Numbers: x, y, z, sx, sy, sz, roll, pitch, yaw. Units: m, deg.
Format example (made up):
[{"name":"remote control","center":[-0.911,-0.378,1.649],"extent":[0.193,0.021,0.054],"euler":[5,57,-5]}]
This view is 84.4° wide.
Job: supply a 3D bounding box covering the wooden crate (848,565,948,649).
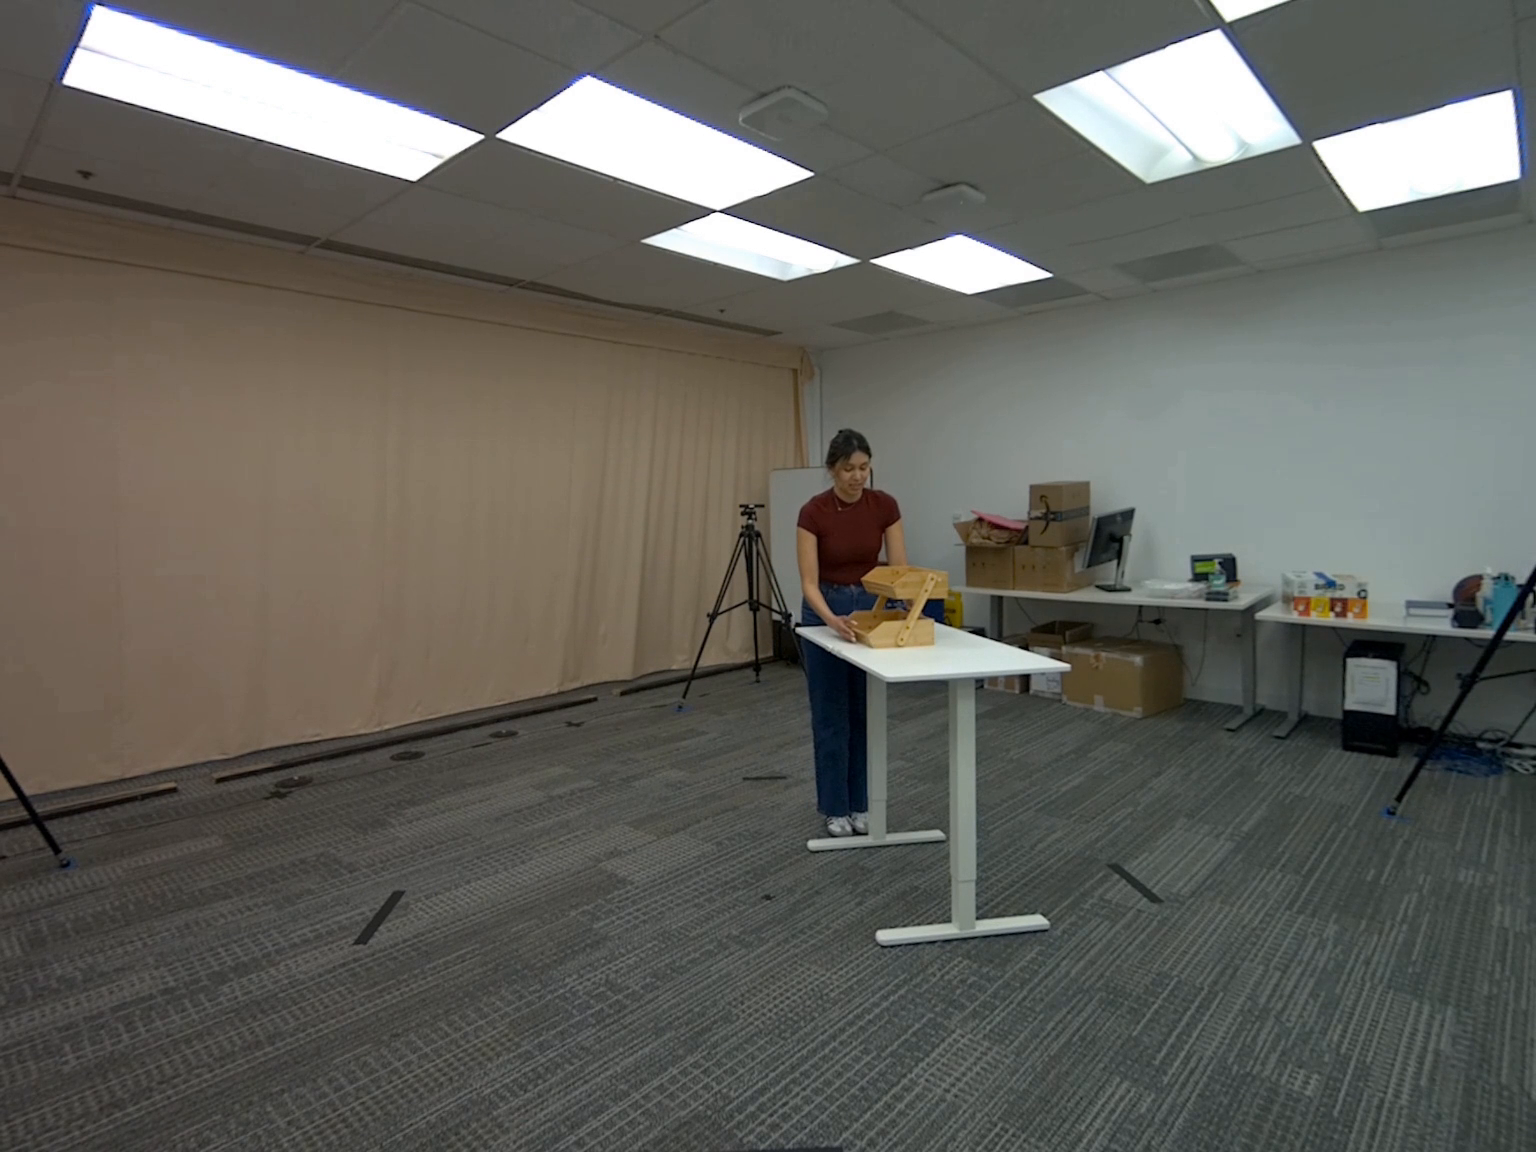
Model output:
[{"name":"wooden crate","center":[0.450,0.105,3.116],"extent":[0.298,0.272,0.330],"euler":[-2,5,-14]}]
